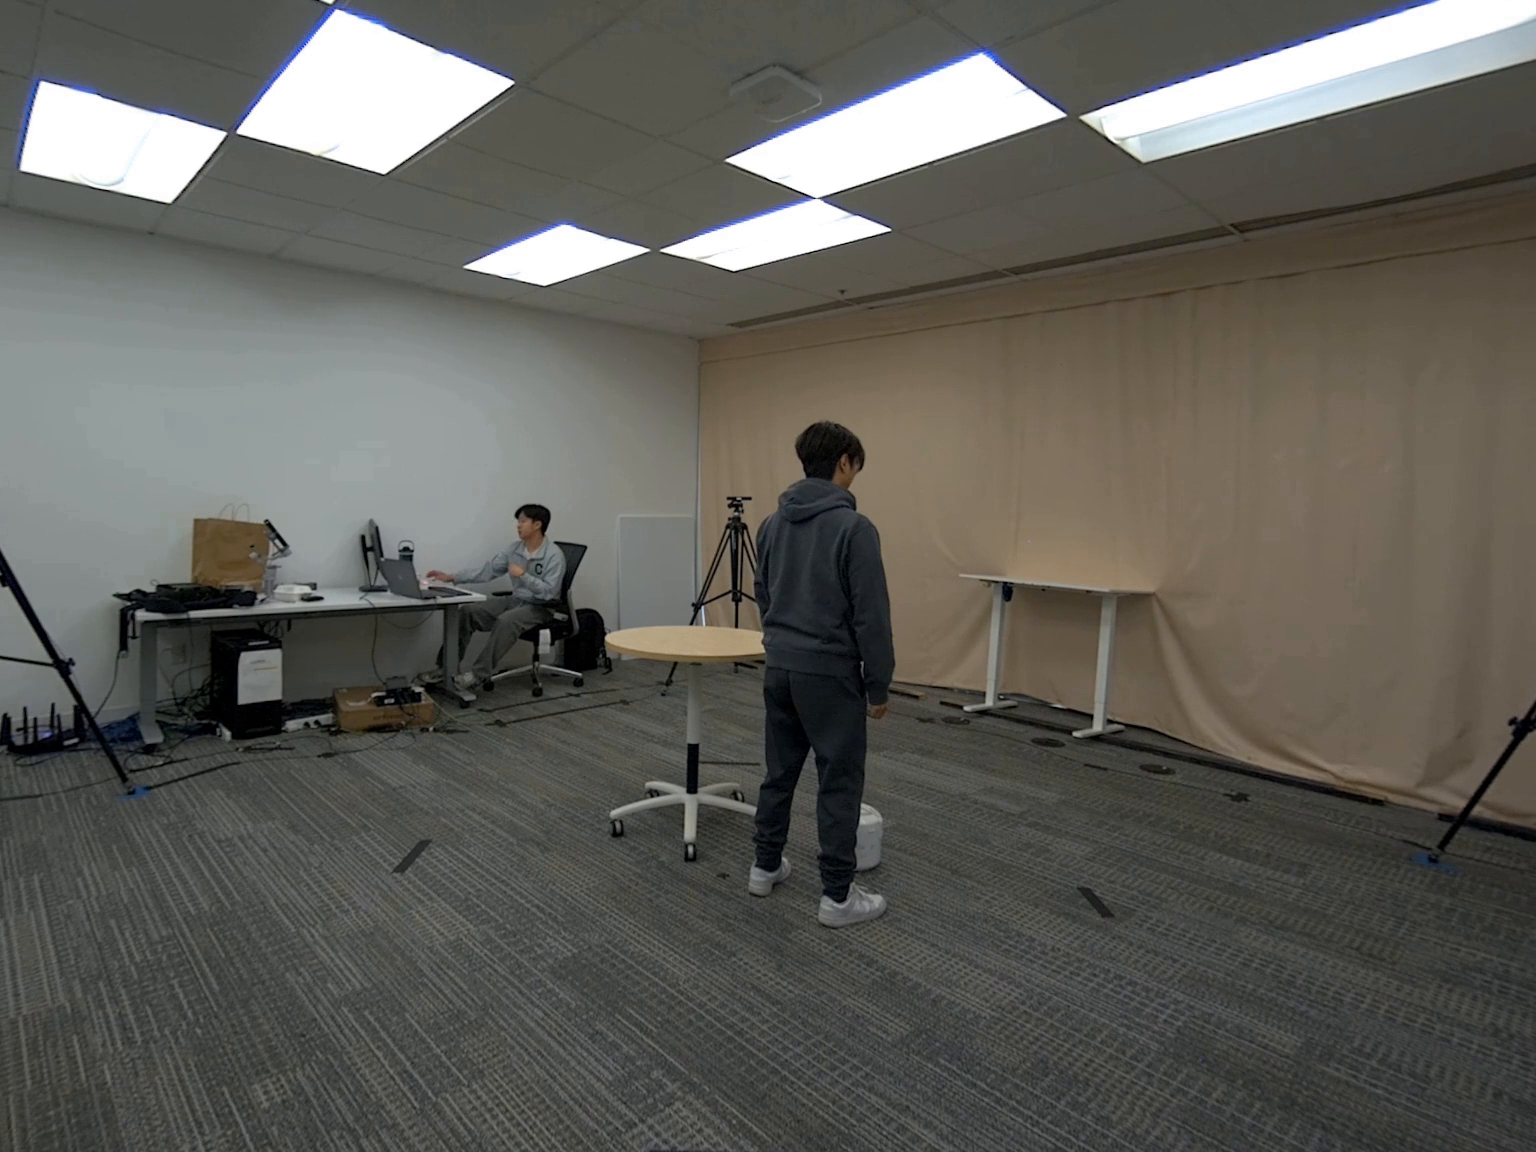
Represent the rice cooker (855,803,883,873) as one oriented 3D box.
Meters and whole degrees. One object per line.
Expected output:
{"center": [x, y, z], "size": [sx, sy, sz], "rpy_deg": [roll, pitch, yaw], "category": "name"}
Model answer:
{"center": [0.327, 0.994, 3.240], "size": [0.224, 0.232, 0.214], "rpy_deg": [3, 5, 23], "category": "rice cooker"}
